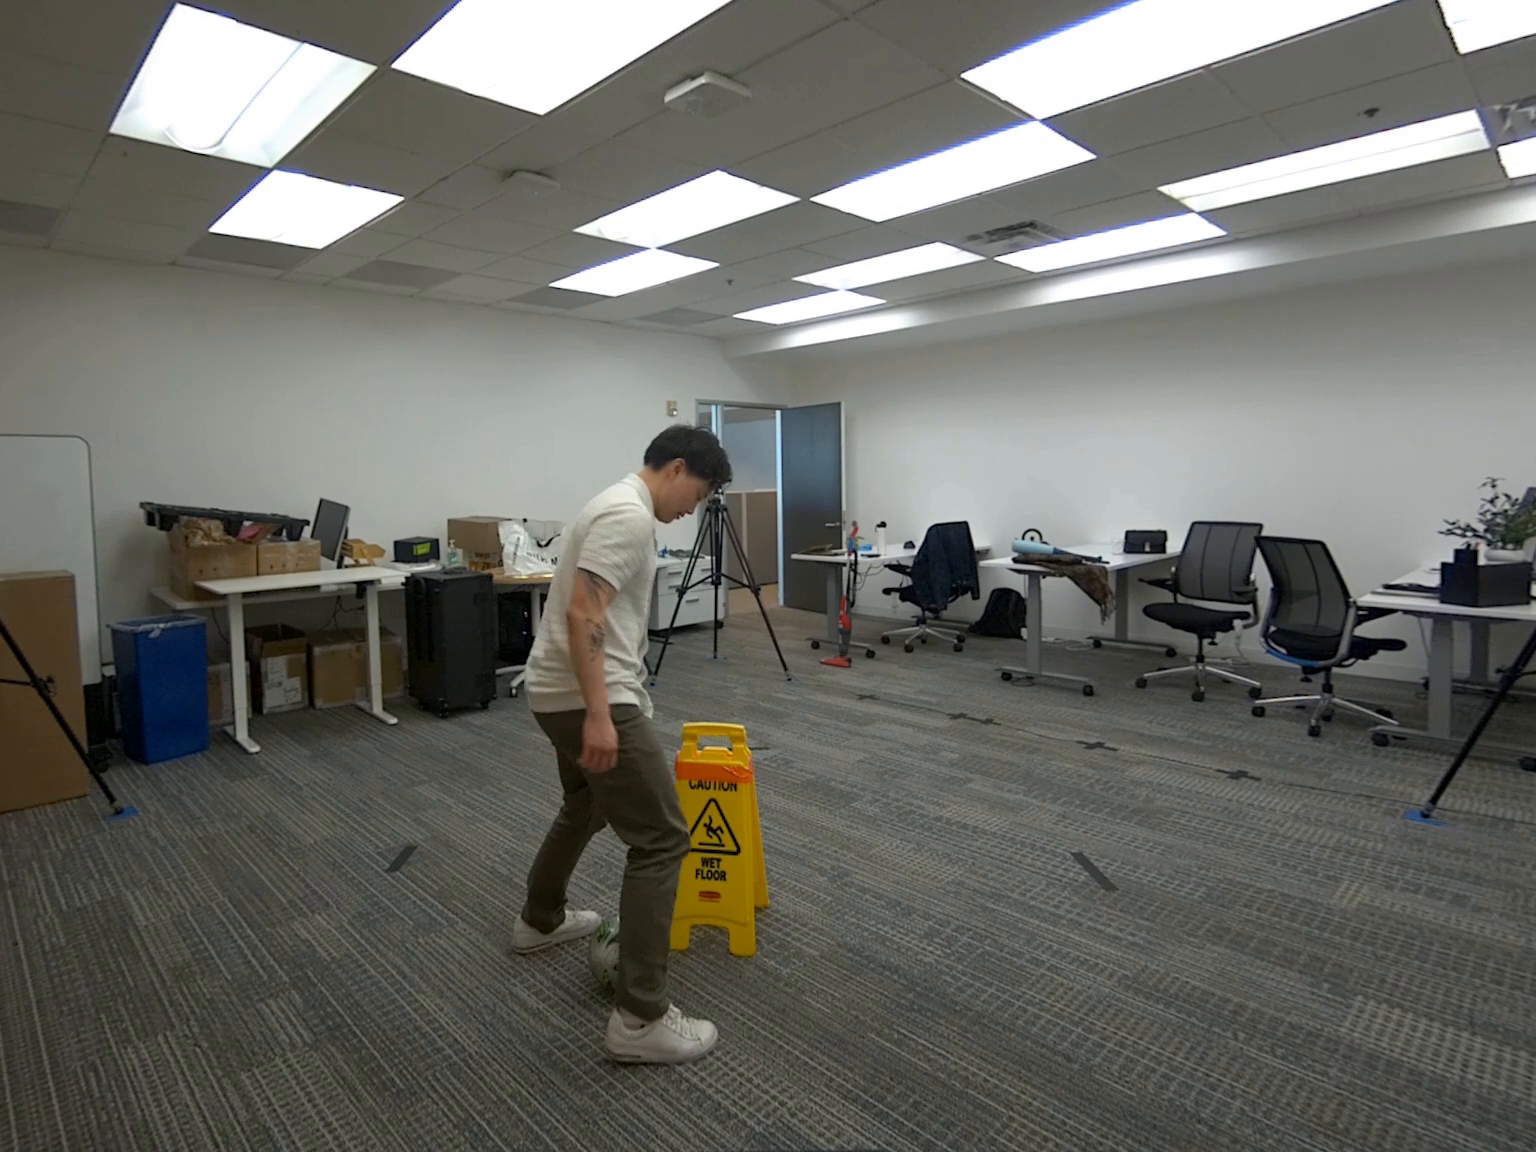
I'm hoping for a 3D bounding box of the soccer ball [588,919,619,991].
[{"bbox_3d":[-0.395,1.040,2.375,0.187,0.187,0.188,-1,5,-2],"label":"soccer ball"}]
